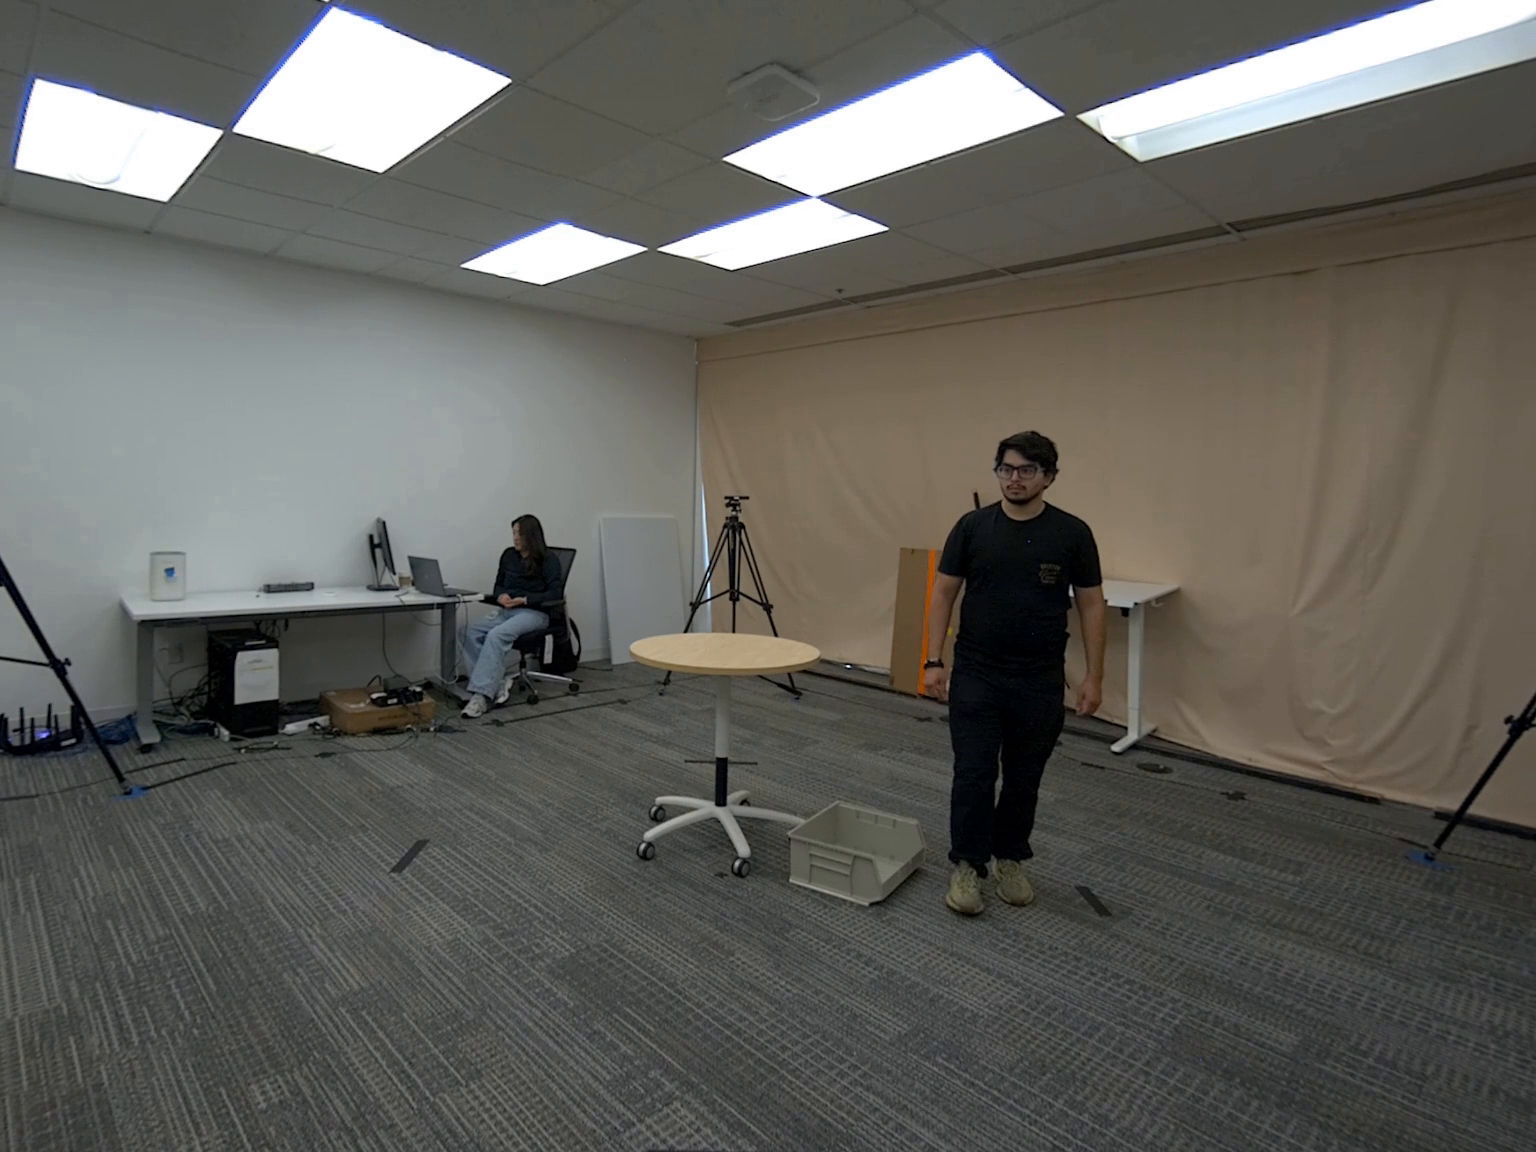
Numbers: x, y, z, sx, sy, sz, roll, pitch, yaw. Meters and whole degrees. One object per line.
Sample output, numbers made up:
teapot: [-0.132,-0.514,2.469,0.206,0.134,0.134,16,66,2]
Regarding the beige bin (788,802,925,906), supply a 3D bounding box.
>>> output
beige bin: [0.327,1.024,3.127,0.386,0.188,0.414,3,5,32]
